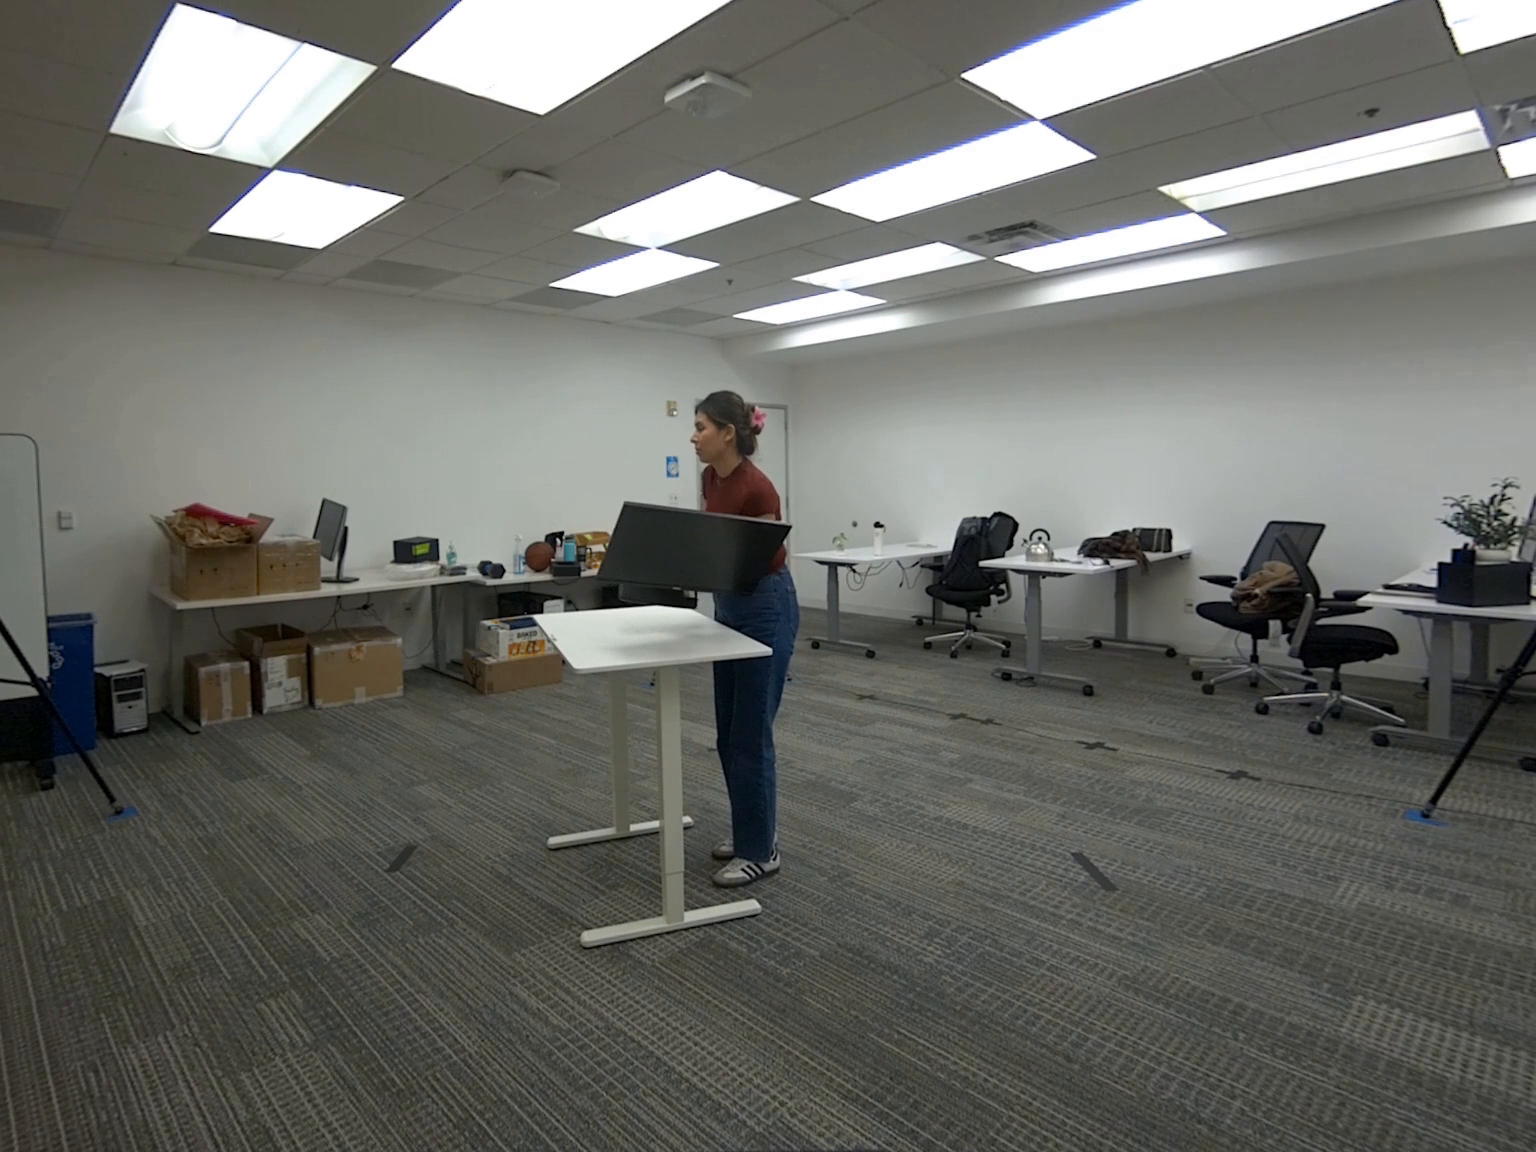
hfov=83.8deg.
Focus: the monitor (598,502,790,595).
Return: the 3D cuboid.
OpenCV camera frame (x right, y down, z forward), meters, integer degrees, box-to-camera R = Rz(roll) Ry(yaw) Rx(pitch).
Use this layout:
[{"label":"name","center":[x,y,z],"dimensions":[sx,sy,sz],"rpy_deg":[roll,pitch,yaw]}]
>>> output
[{"label":"monitor","center":[-0.275,-0.063,2.729],"dimensions":[0.526,0.191,0.523],"rpy_deg":[7,-27,-24]}]
